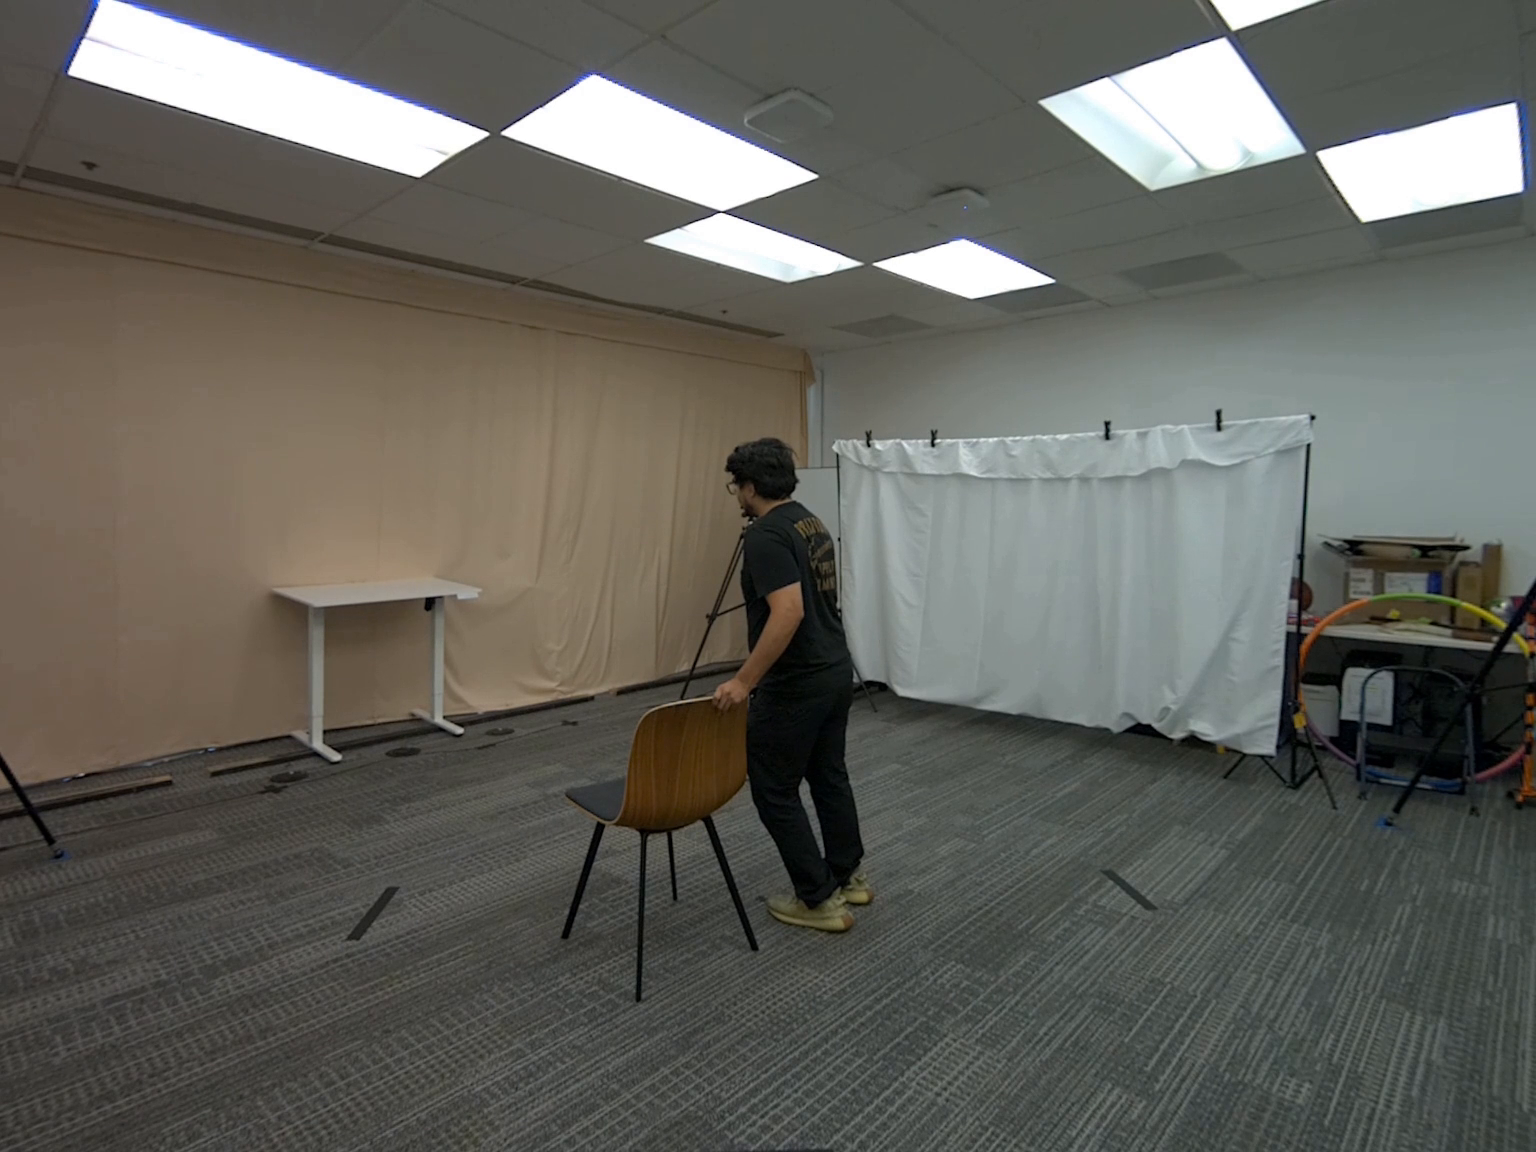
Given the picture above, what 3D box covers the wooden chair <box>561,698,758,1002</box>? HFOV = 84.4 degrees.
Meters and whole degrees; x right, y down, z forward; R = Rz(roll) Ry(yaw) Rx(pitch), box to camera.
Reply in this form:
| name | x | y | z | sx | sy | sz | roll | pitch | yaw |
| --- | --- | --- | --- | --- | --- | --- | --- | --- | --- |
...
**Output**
| name | x | y | z | sx | sy | sz | roll | pitch | yaw |
| --- | --- | --- | --- | --- | --- | --- | --- | --- | --- |
| wooden chair | -0.358 | 0.749 | 2.652 | 0.463 | 0.874 | 0.541 | -2 | 8 | -40 |
